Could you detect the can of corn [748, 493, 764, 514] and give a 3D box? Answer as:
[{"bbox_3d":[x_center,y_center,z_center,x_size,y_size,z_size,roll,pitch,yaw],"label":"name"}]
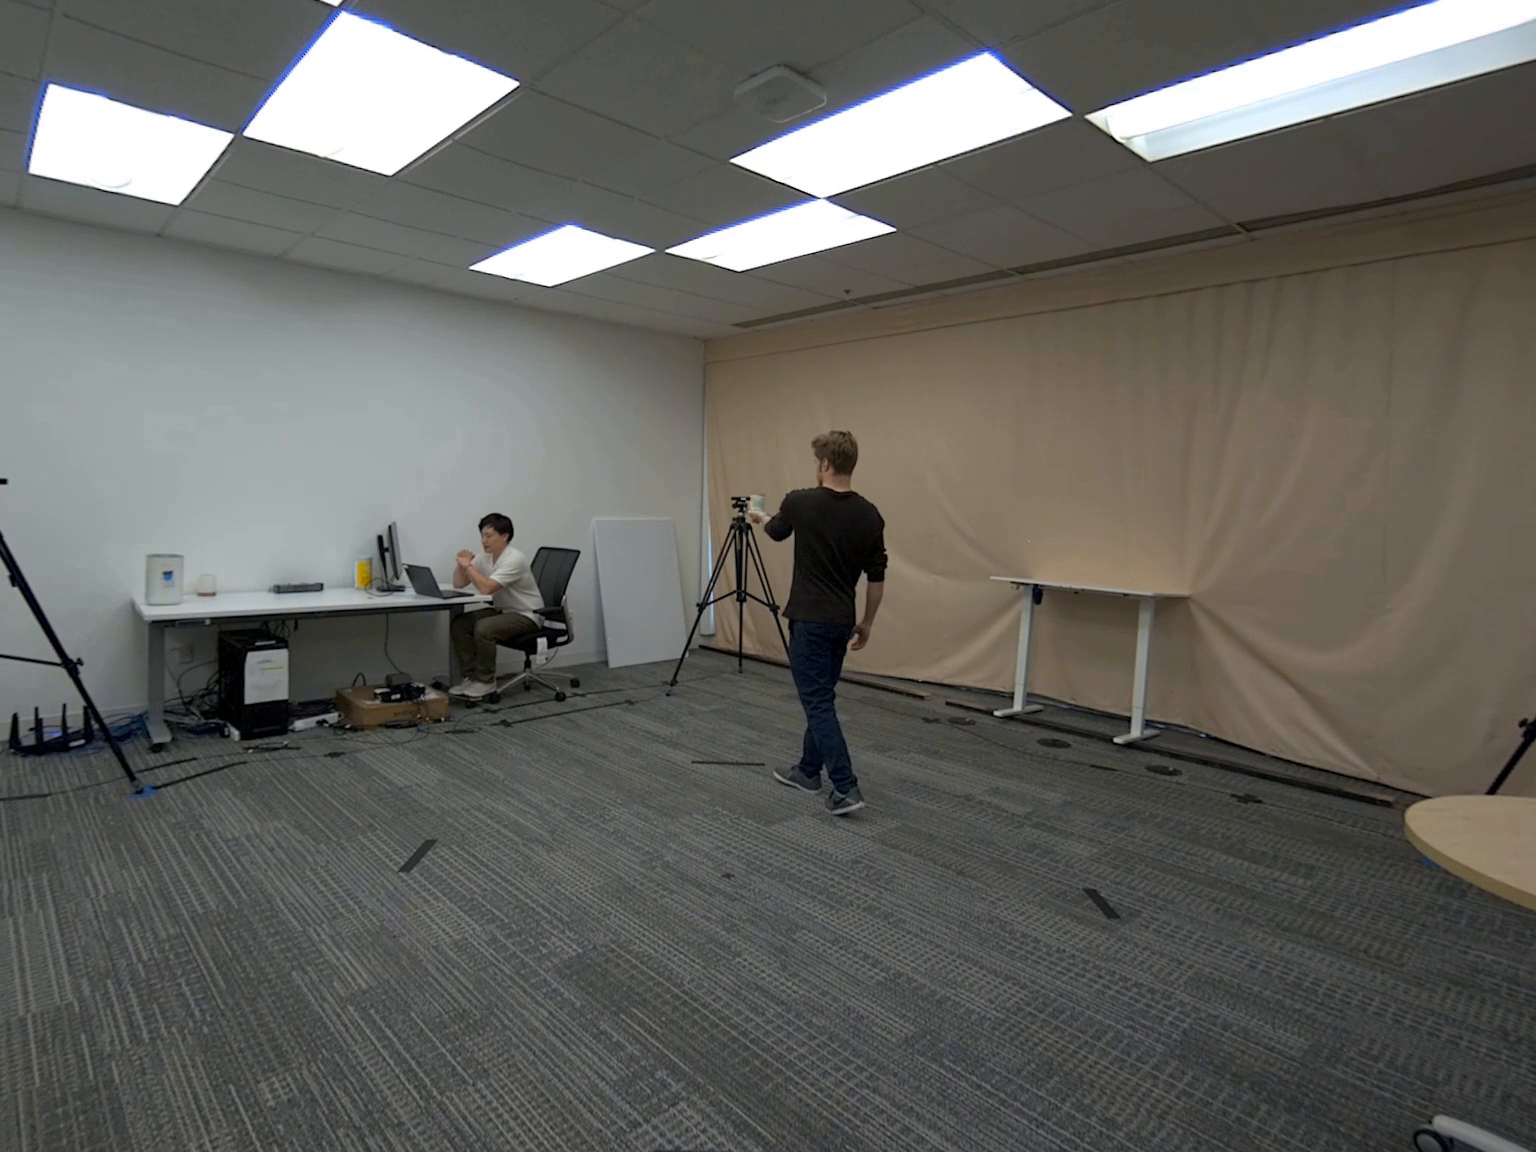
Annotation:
[{"bbox_3d":[-0.064,-0.373,4.390,0.074,0.110,0.074,2,5,-2],"label":"can of corn"}]
